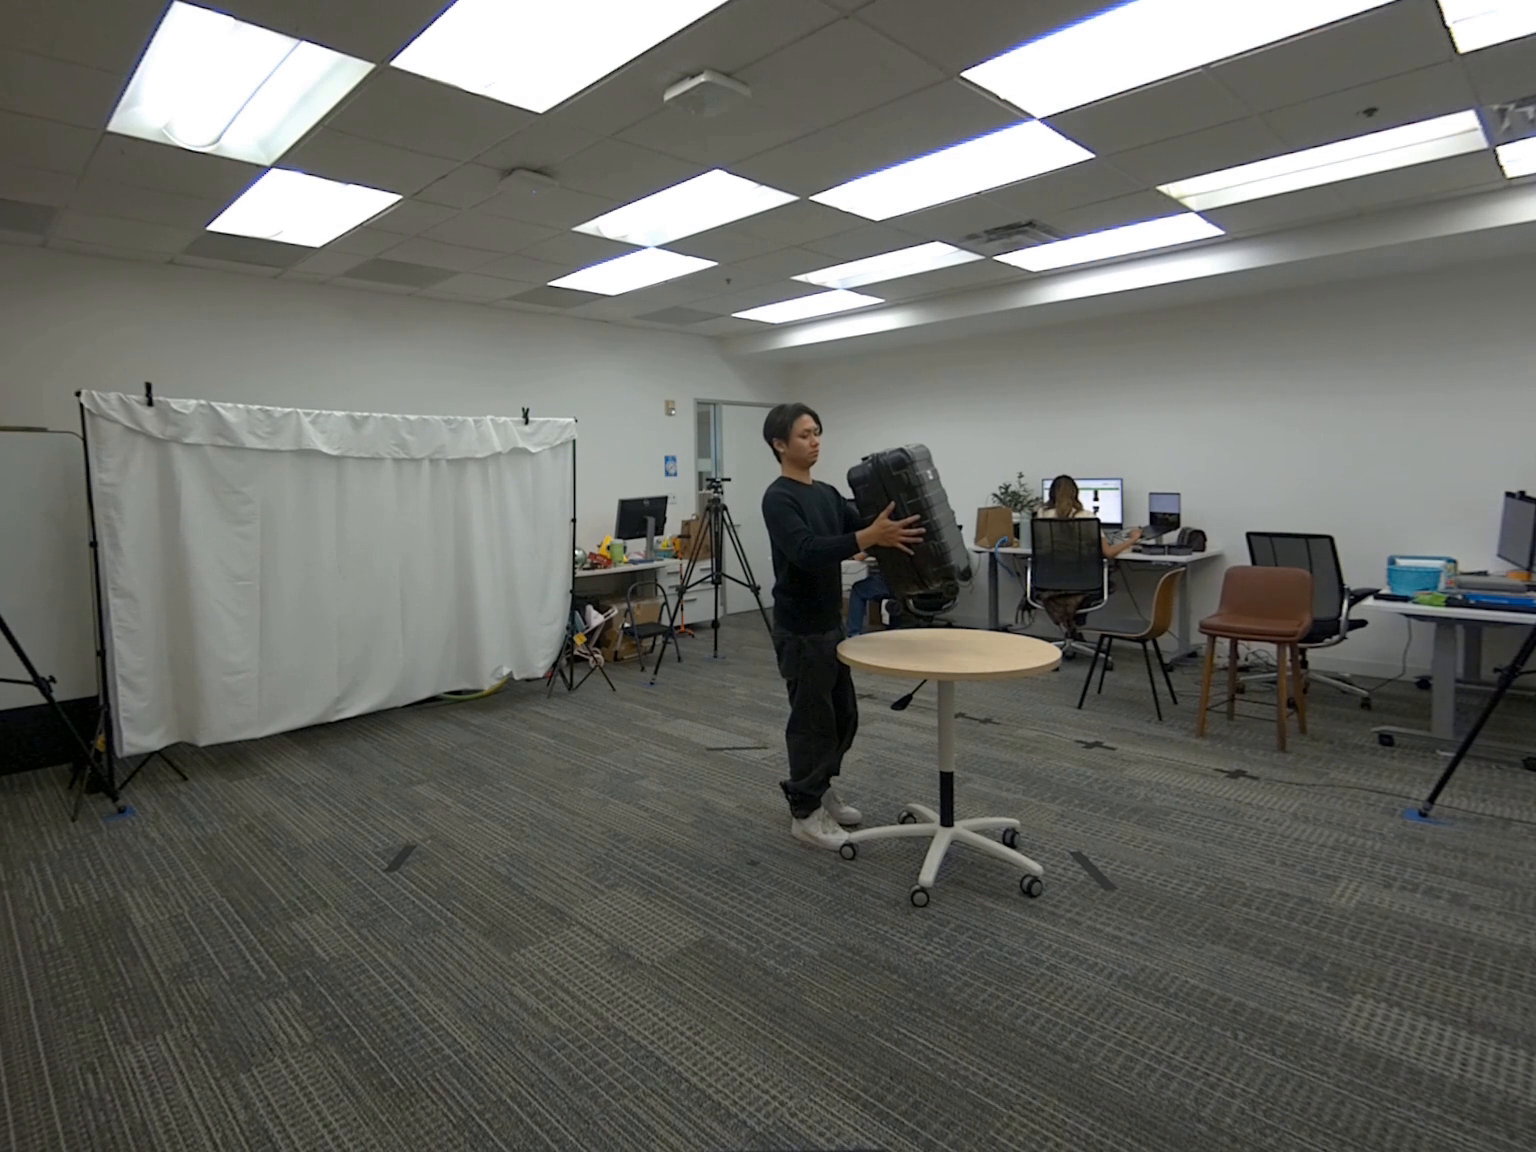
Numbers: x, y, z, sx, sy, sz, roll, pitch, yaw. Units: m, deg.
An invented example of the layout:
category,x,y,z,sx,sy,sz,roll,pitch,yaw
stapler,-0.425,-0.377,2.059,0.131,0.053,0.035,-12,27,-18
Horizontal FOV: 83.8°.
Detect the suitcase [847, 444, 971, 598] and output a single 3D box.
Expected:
category,x,y,z,sx,sy,sz,roll,pitch,yaw
suitcase,0.502,-0.193,3.042,0.252,0.551,0.369,-21,-2,27
